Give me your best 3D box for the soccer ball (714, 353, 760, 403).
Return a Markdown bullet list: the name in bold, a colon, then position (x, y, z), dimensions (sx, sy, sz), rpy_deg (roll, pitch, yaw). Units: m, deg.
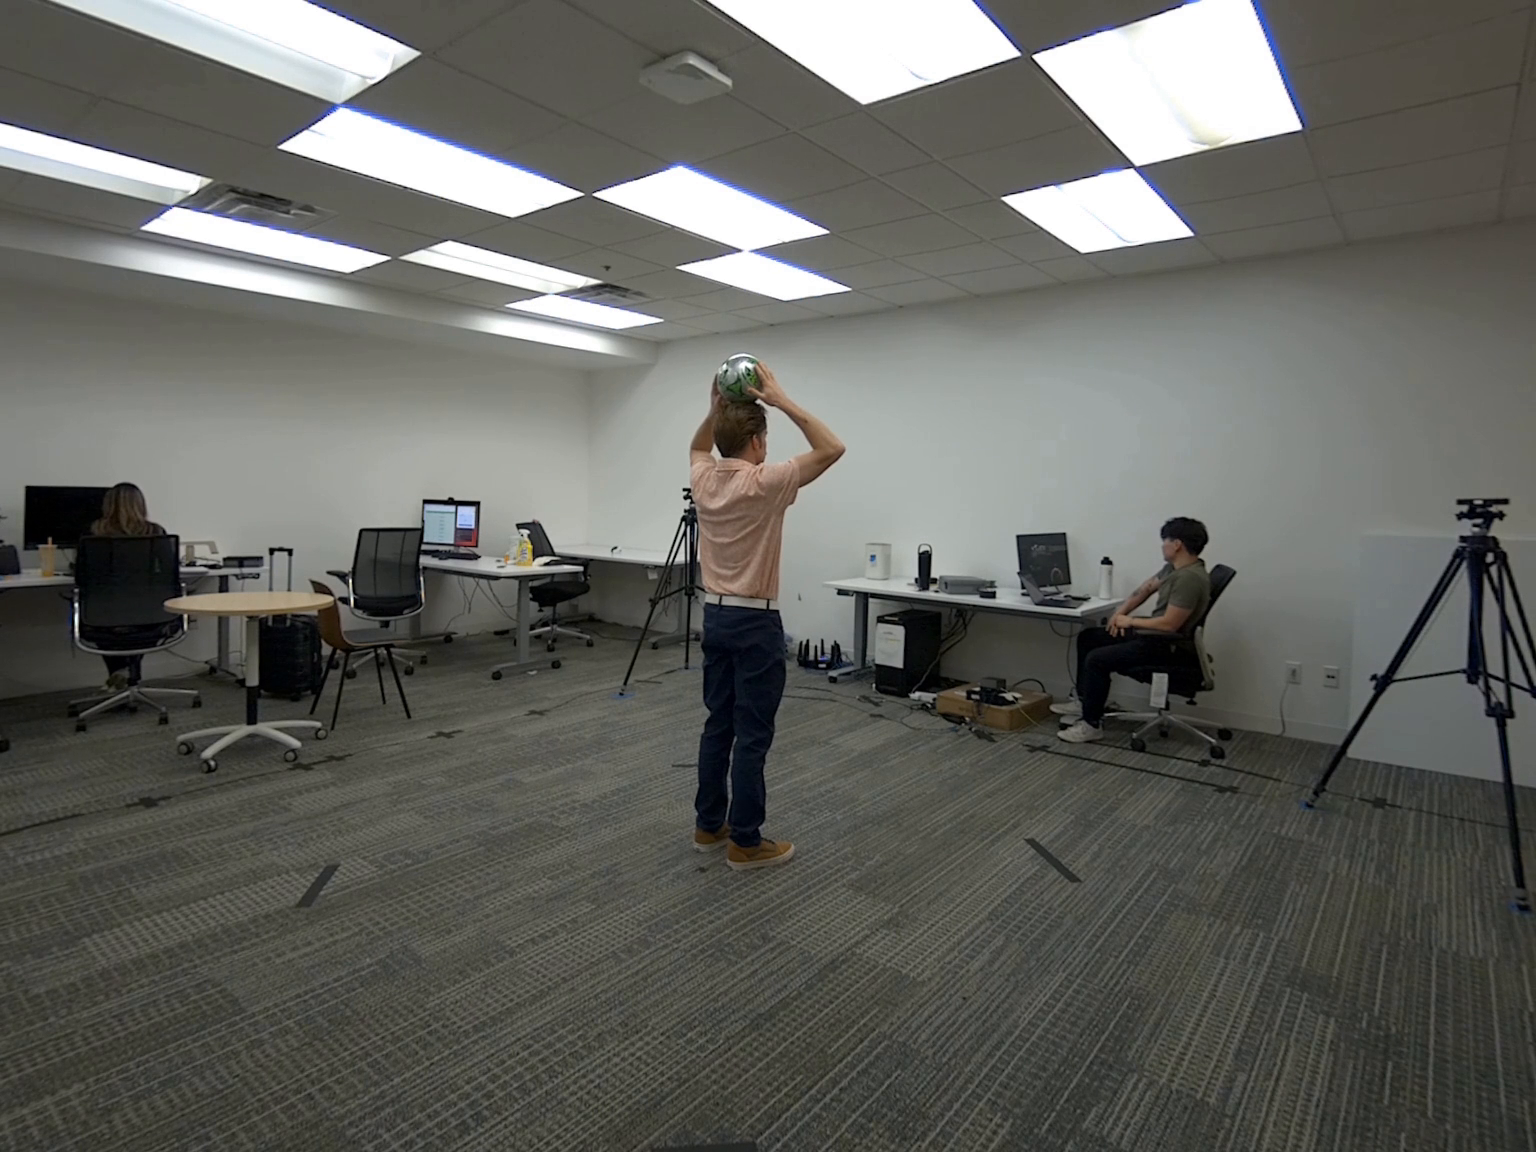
- **soccer ball**: position (-0.113, -0.722, 3.165), dimensions (0.187, 0.187, 0.188), rpy_deg (1, 4, -2)
